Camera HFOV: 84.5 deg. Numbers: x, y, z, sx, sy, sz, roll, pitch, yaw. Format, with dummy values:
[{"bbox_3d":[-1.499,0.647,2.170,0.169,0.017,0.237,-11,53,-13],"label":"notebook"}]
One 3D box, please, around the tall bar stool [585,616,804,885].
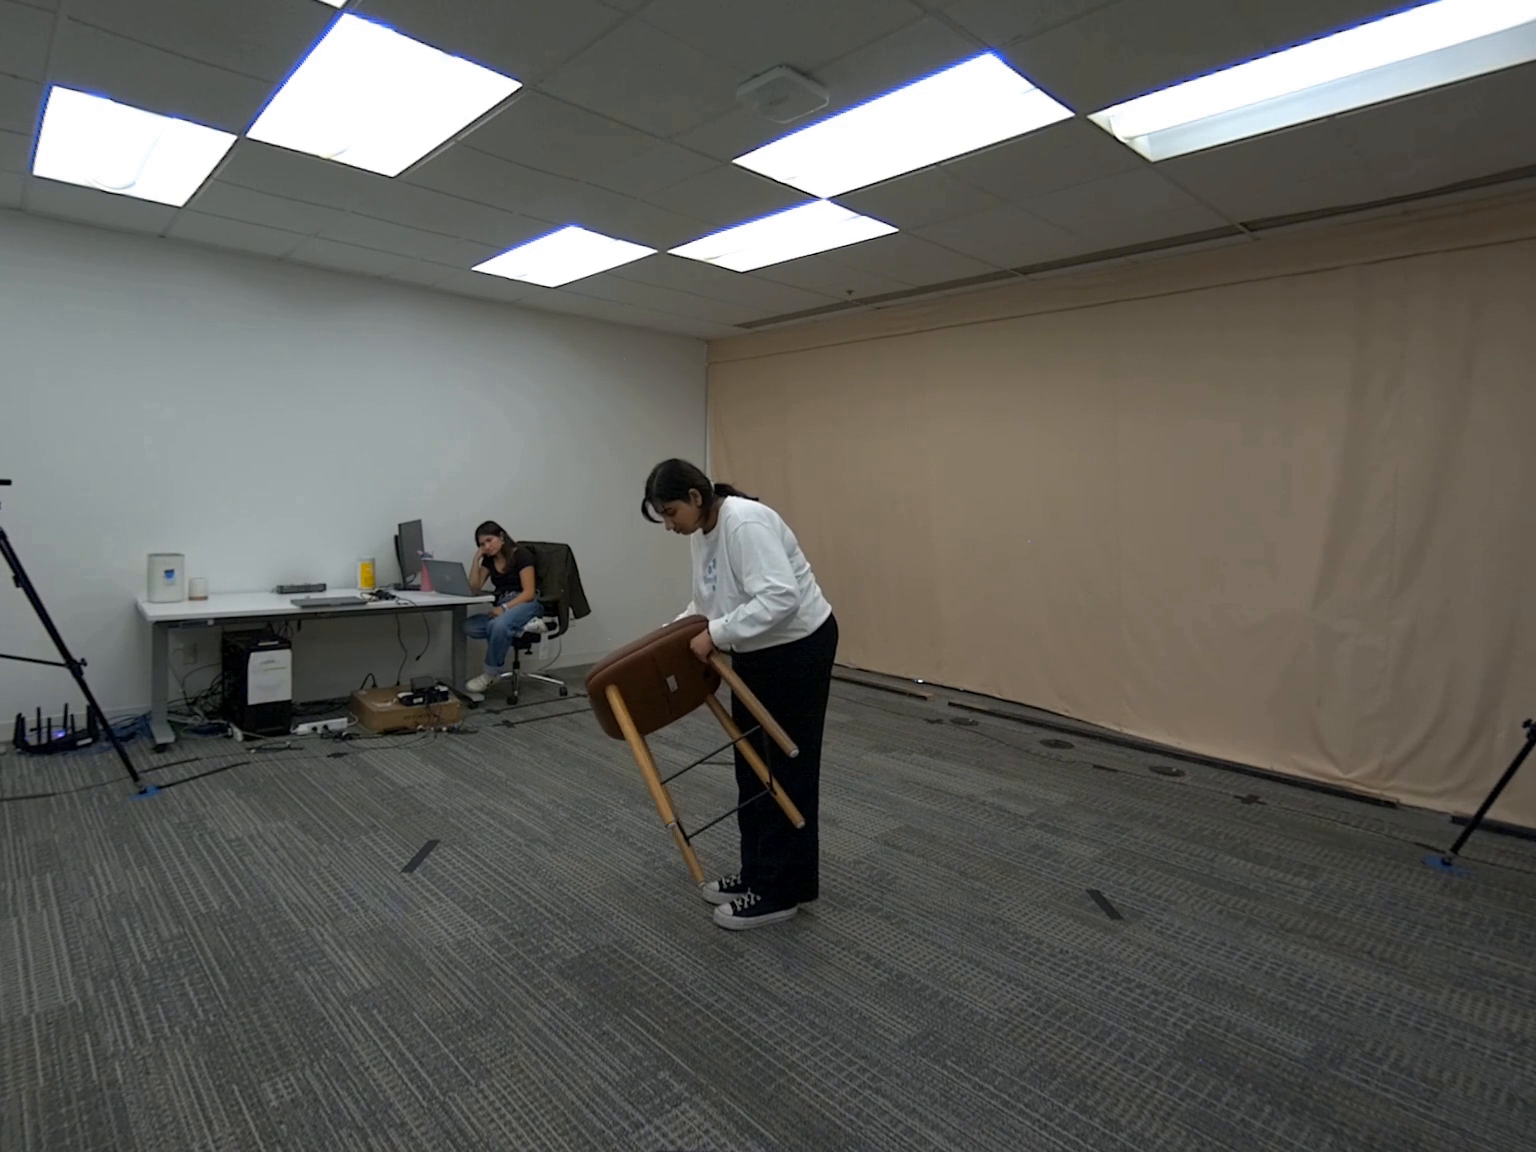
[{"bbox_3d":[-0.294,0.451,2.668,0.454,0.455,0.918,-28,49,-13],"label":"tall bar stool"}]
